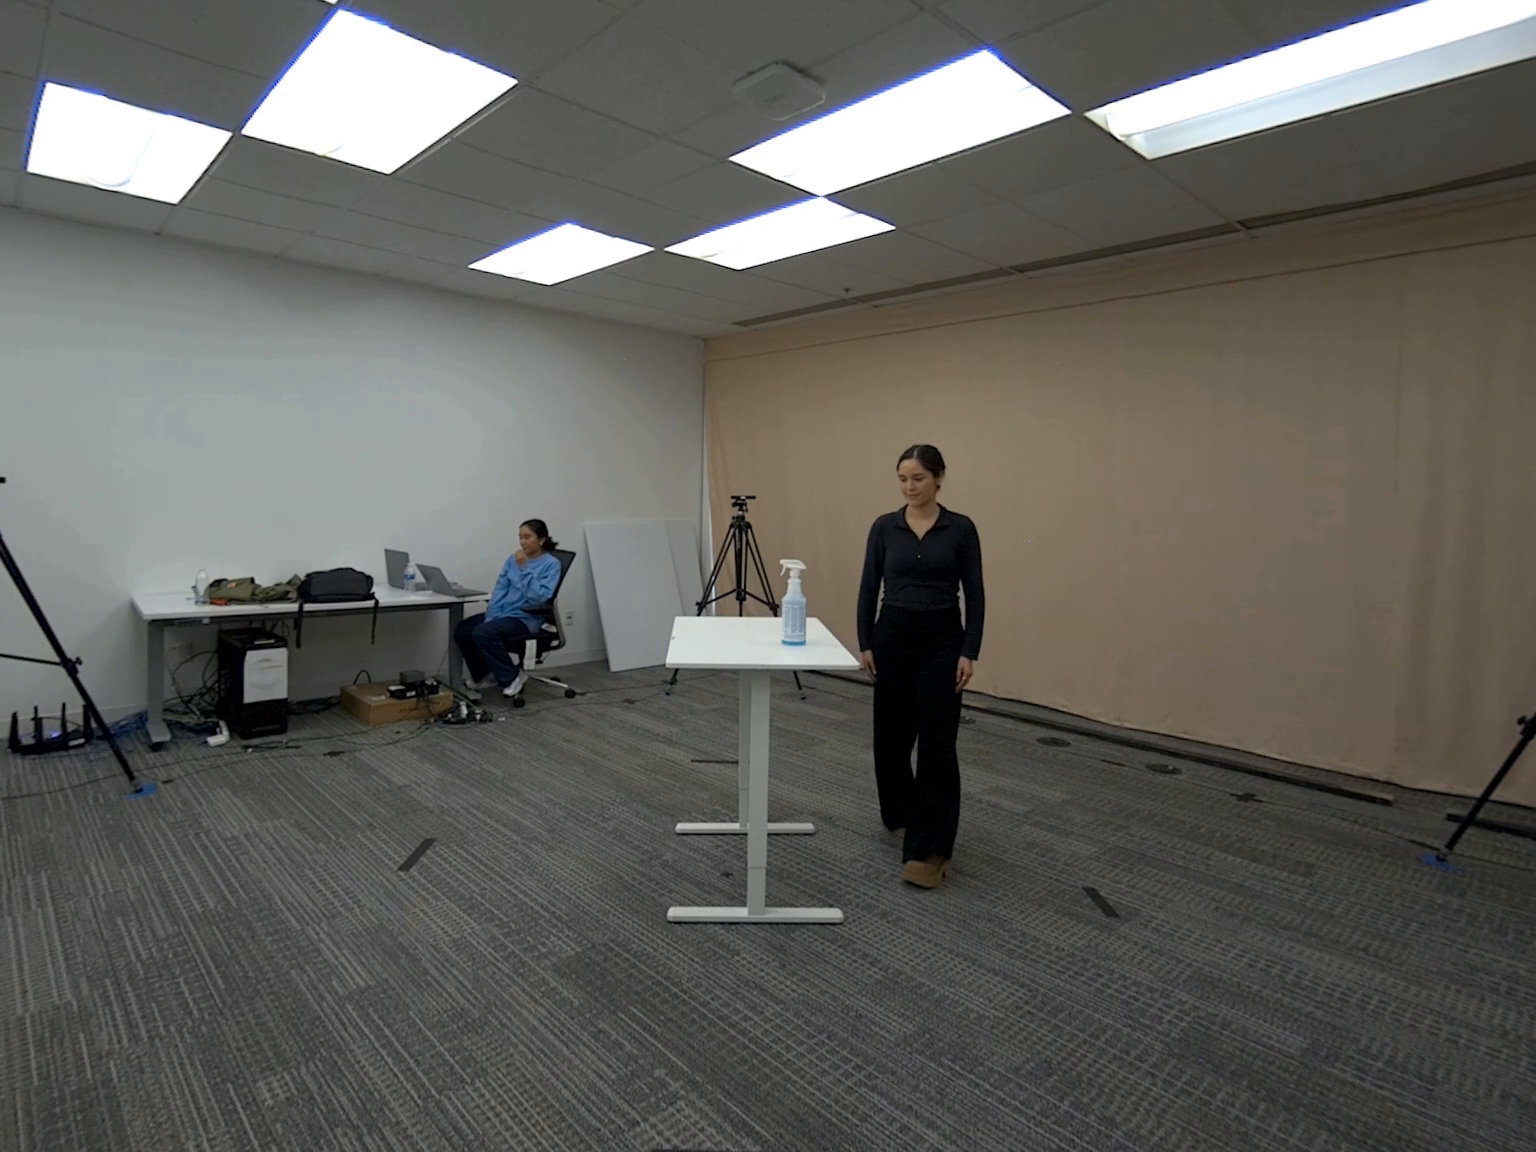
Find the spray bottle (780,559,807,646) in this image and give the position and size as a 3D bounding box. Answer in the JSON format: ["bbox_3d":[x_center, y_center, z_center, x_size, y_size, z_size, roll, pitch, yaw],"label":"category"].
[{"bbox_3d":[0.086,0.095,2.949,0.091,0.296,0.086,0,5,20],"label":"spray bottle"}]
